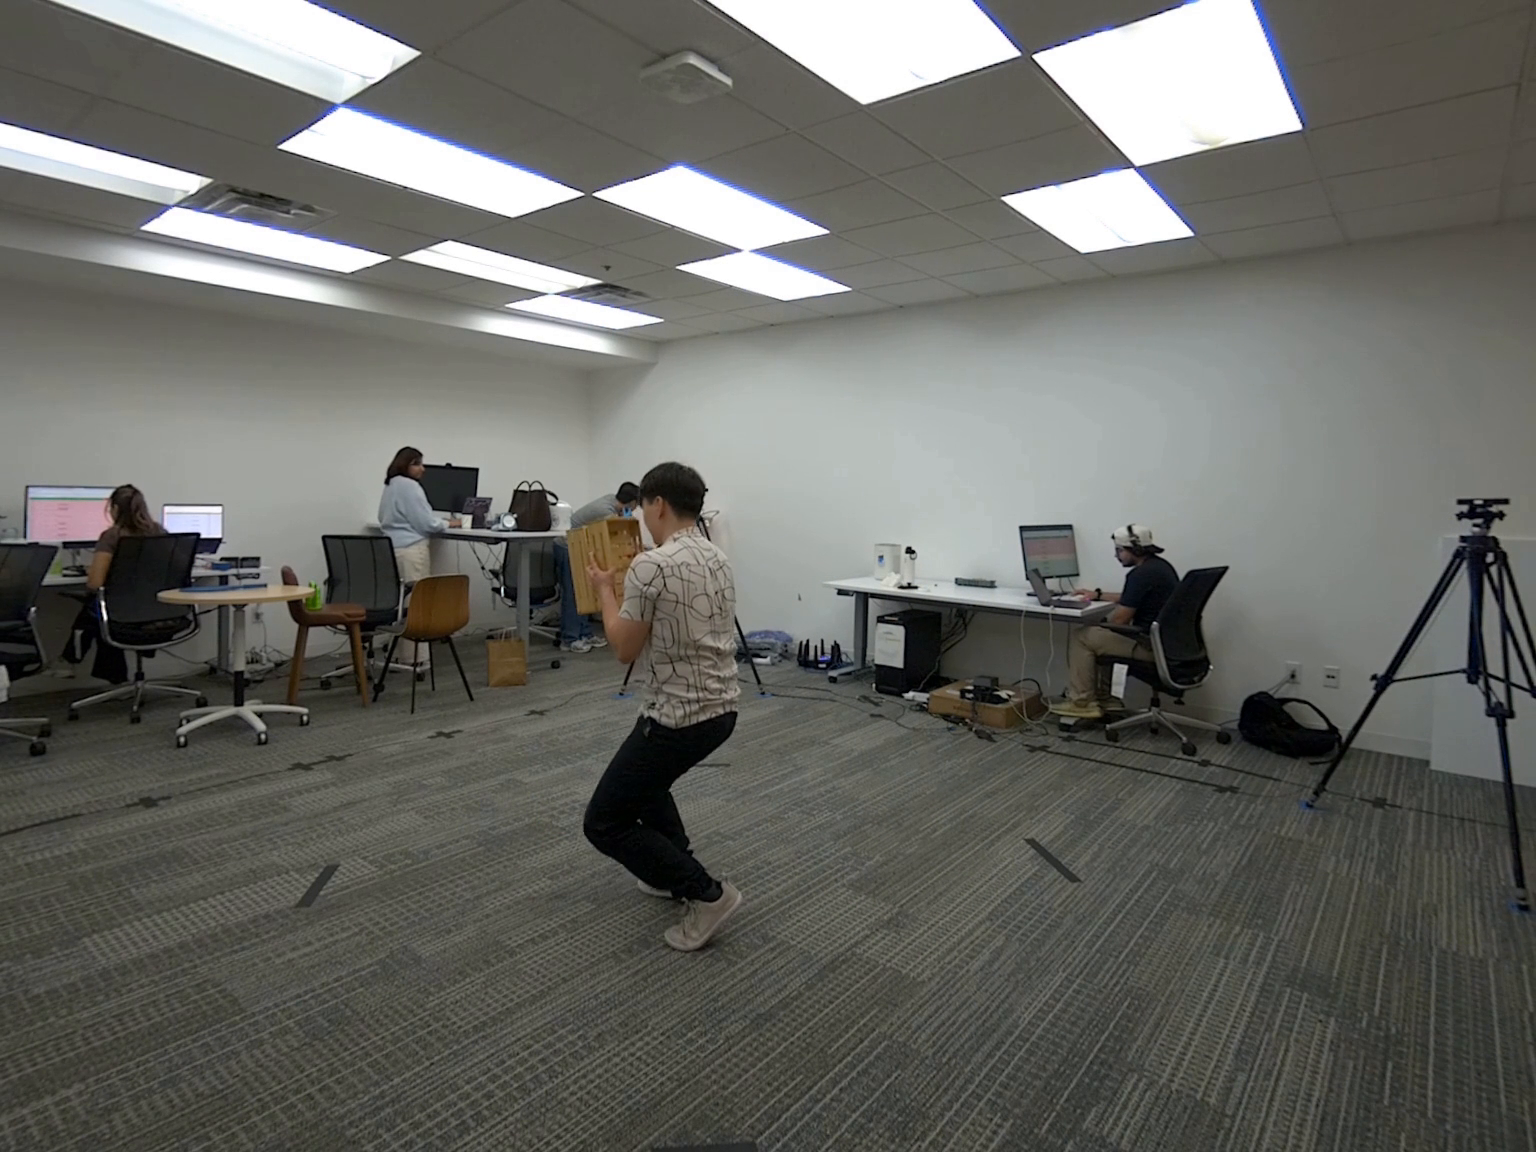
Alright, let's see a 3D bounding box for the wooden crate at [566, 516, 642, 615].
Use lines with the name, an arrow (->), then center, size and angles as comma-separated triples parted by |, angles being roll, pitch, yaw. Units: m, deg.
wooden crate -> -0.540, -0.039, 2.993 | 0.280, 0.326, 0.293 | -11, -3, 38
